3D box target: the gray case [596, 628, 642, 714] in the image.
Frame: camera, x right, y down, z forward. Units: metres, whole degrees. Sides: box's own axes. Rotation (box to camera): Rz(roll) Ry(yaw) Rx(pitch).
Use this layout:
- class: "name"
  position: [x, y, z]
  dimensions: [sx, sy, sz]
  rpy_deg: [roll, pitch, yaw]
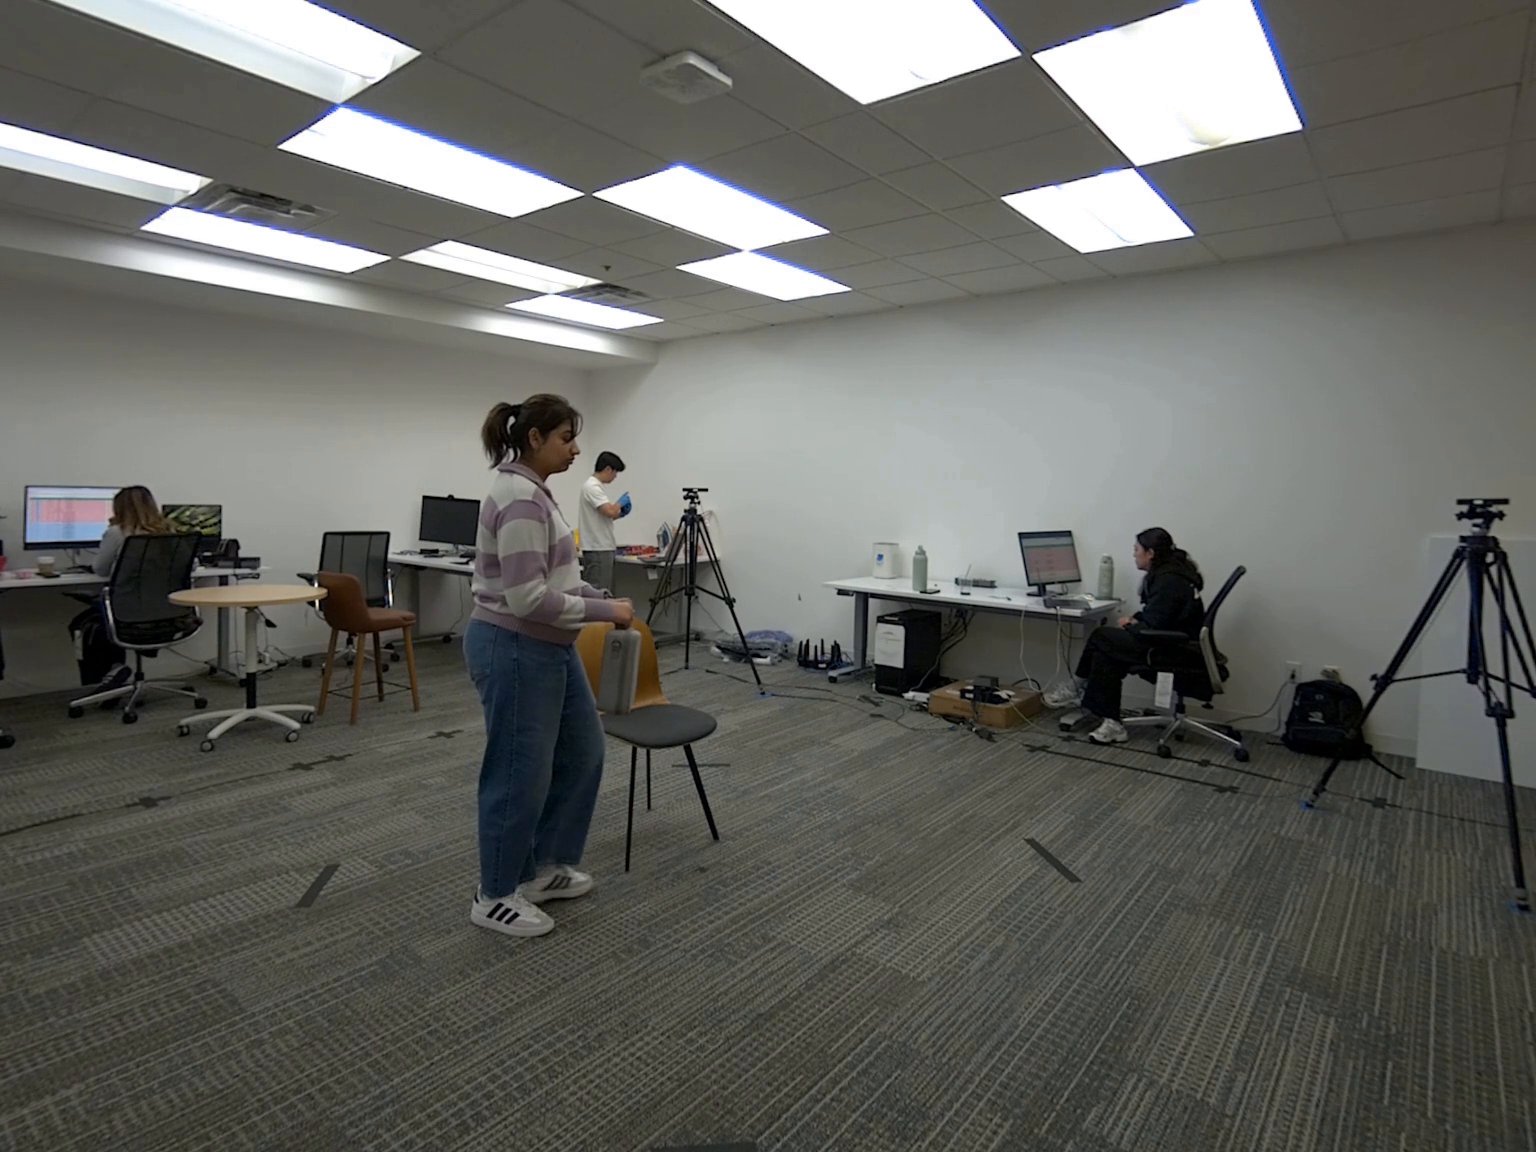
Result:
- class: "gray case"
  position: [-0.488, 0.294, 2.658]
  dimensions: [0.104, 0.261, 0.257]
  rpy_deg: [6, -1, -3]
